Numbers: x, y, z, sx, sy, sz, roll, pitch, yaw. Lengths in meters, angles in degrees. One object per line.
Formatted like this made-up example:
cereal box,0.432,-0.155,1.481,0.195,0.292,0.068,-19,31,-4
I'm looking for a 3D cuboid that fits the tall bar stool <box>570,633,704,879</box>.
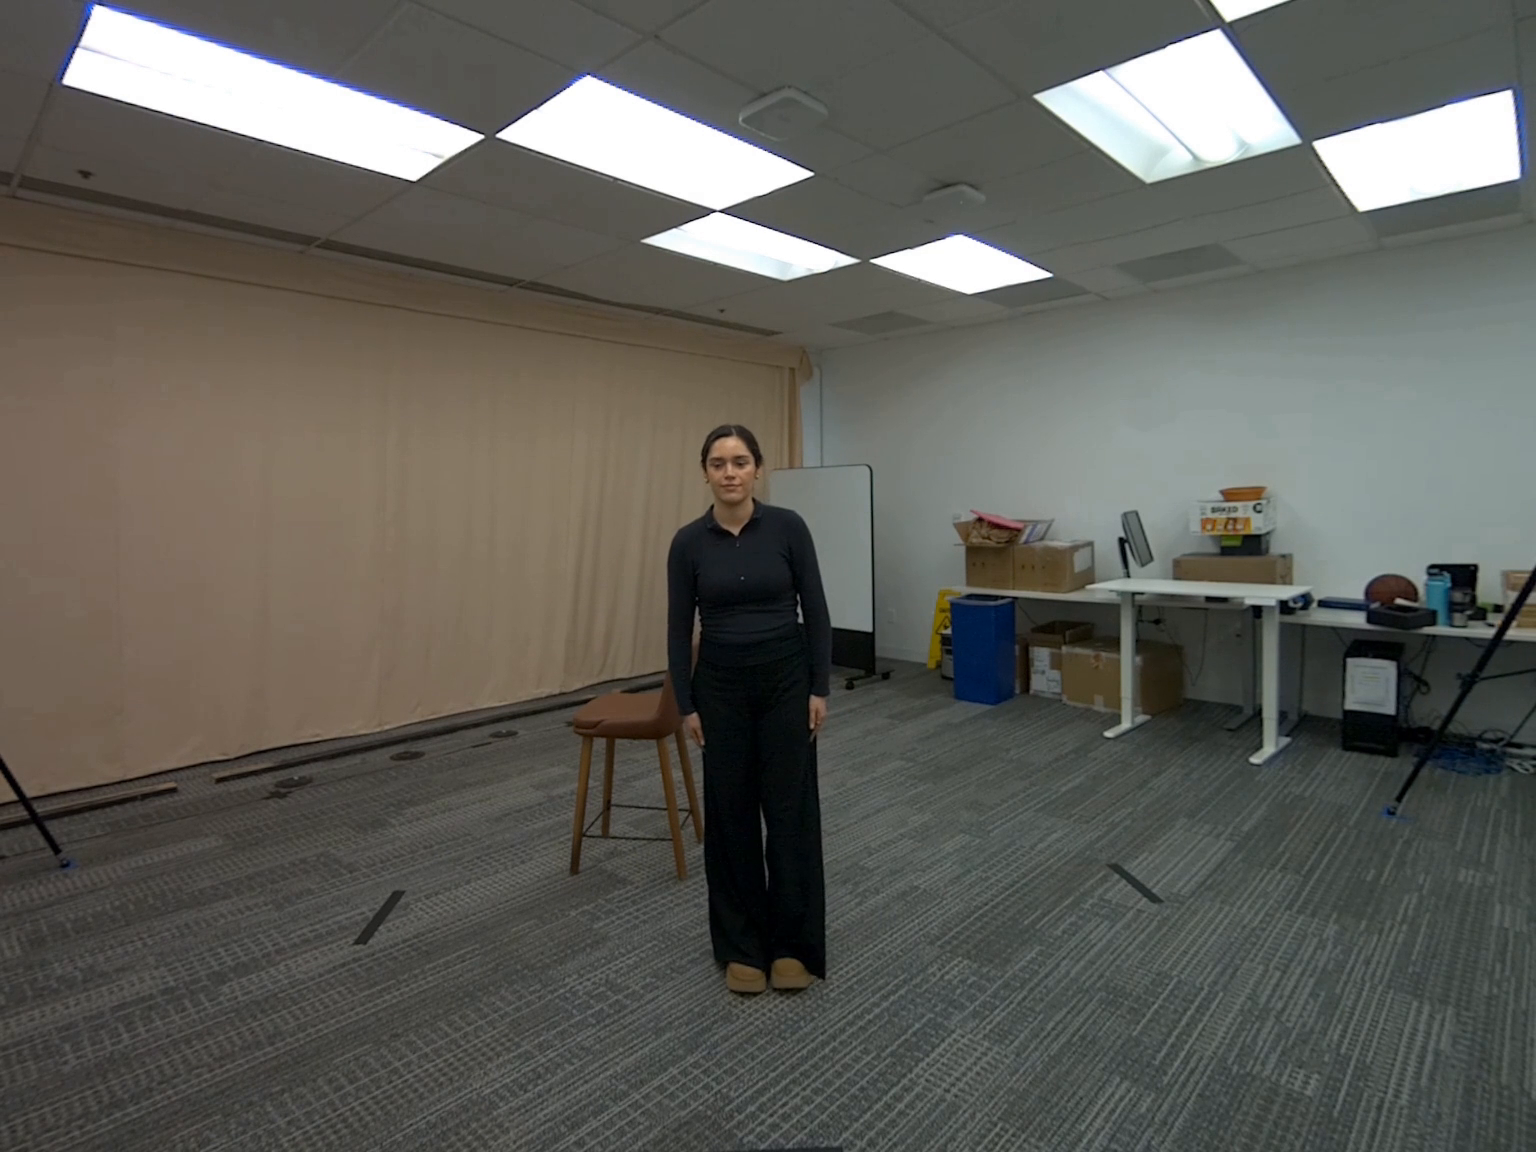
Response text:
tall bar stool,-0.513,0.687,3.337,0.473,0.888,0.452,1,4,10
